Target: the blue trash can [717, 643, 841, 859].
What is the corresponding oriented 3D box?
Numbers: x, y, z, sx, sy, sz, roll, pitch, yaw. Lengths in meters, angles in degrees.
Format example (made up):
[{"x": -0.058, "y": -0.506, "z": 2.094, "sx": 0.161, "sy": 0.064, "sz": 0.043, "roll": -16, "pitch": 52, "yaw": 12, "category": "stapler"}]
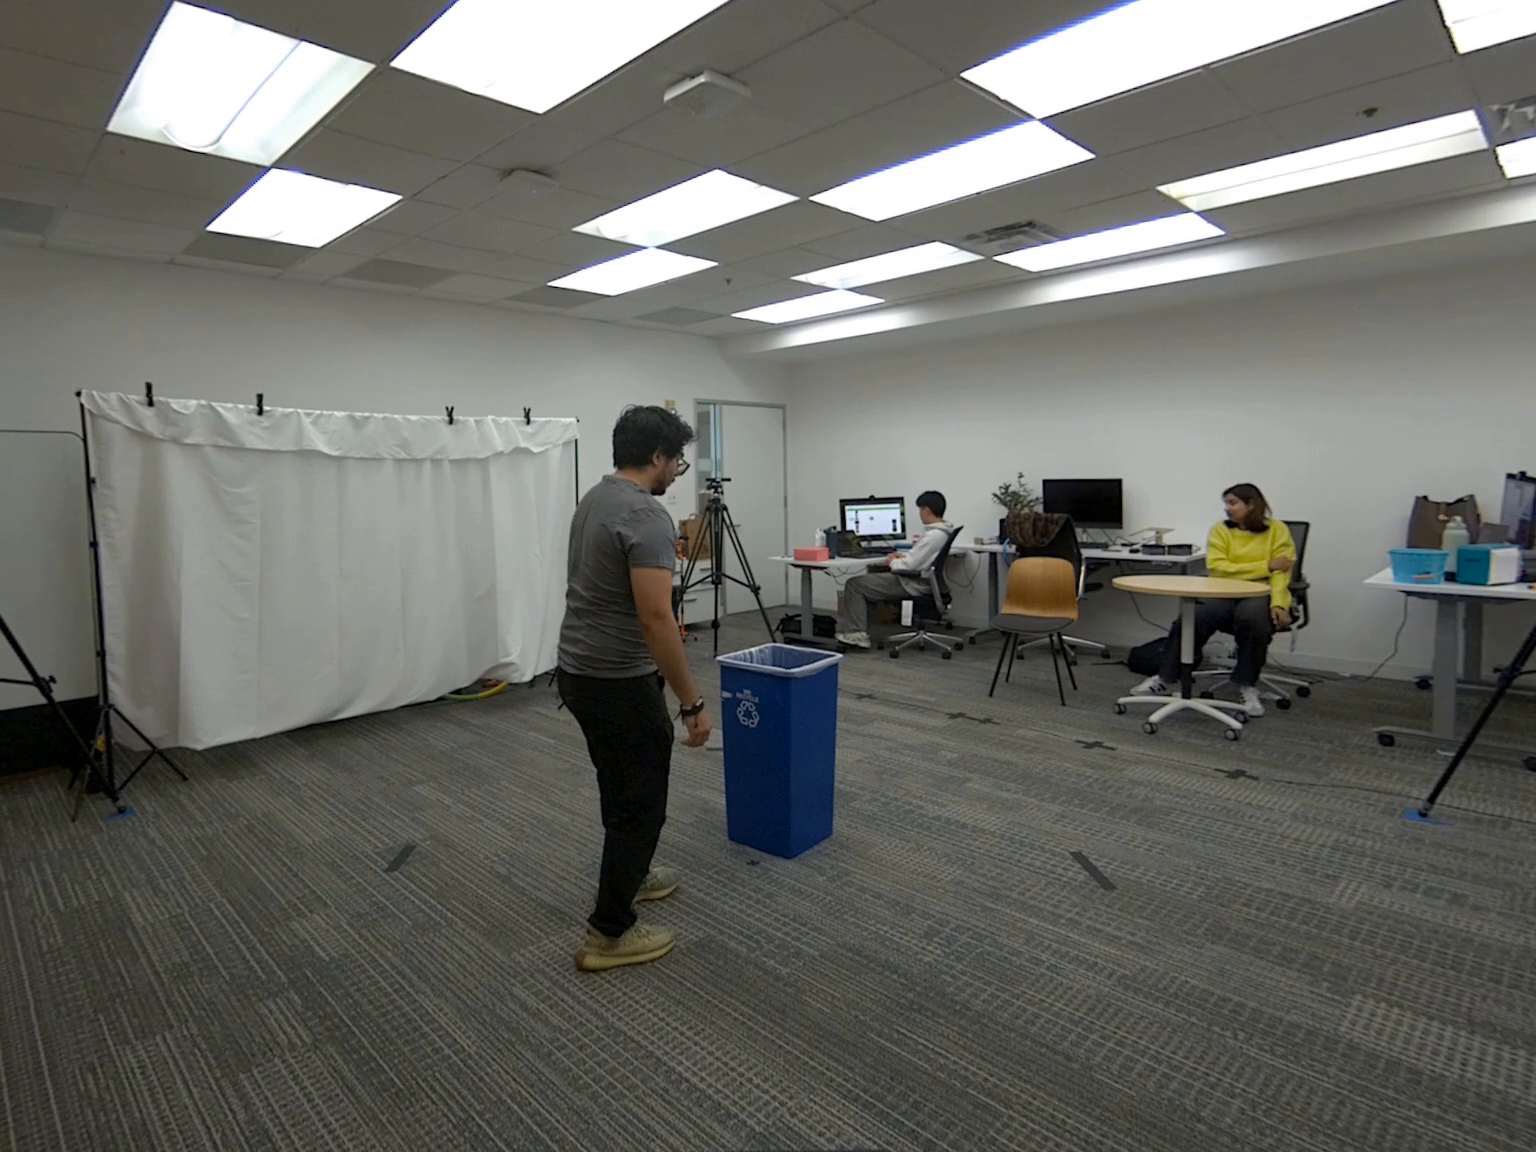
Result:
[{"x": 0.055, "y": 0.660, "z": 3.303, "sx": 0.385, "sy": 0.711, "sz": 0.368, "roll": 3, "pitch": 5, "yaw": 39, "category": "blue trash can"}]
